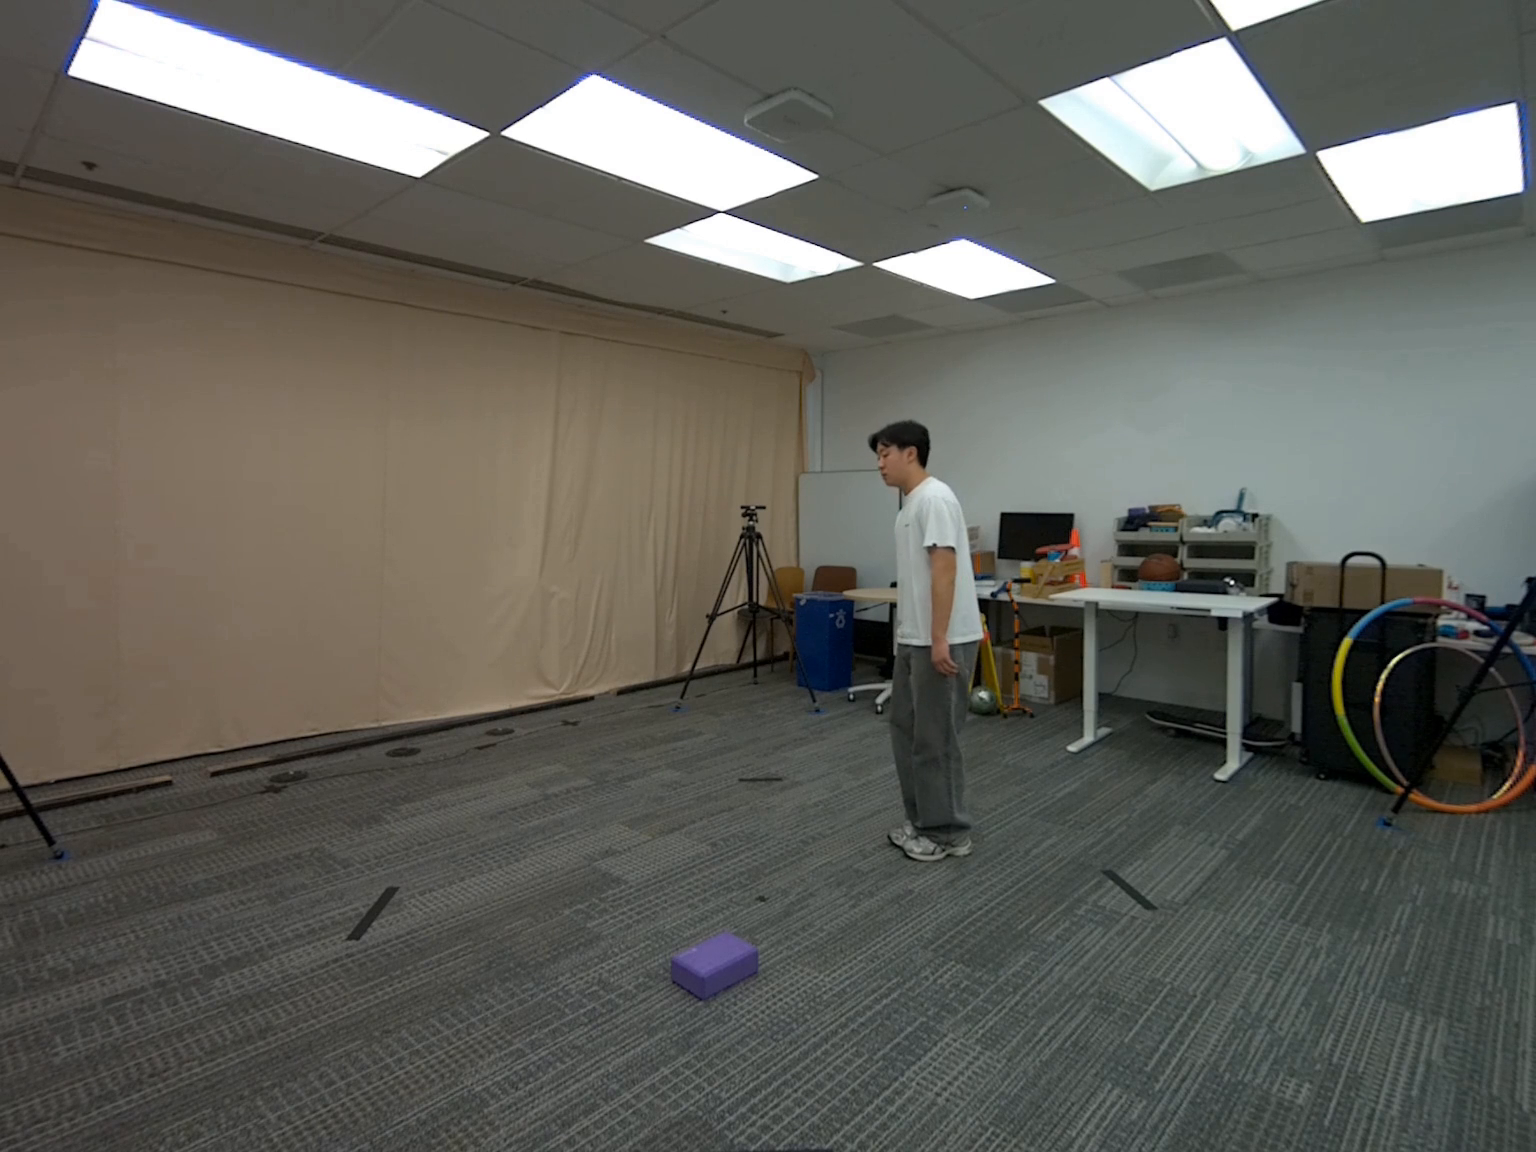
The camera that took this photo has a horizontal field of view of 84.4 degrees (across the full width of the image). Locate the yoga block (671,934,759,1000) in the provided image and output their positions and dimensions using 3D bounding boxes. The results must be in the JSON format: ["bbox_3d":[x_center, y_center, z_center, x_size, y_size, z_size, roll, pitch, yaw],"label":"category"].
[{"bbox_3d":[-0.148,1.150,2.485,0.222,0.076,0.154,-5,6,-44],"label":"yoga block"}]
